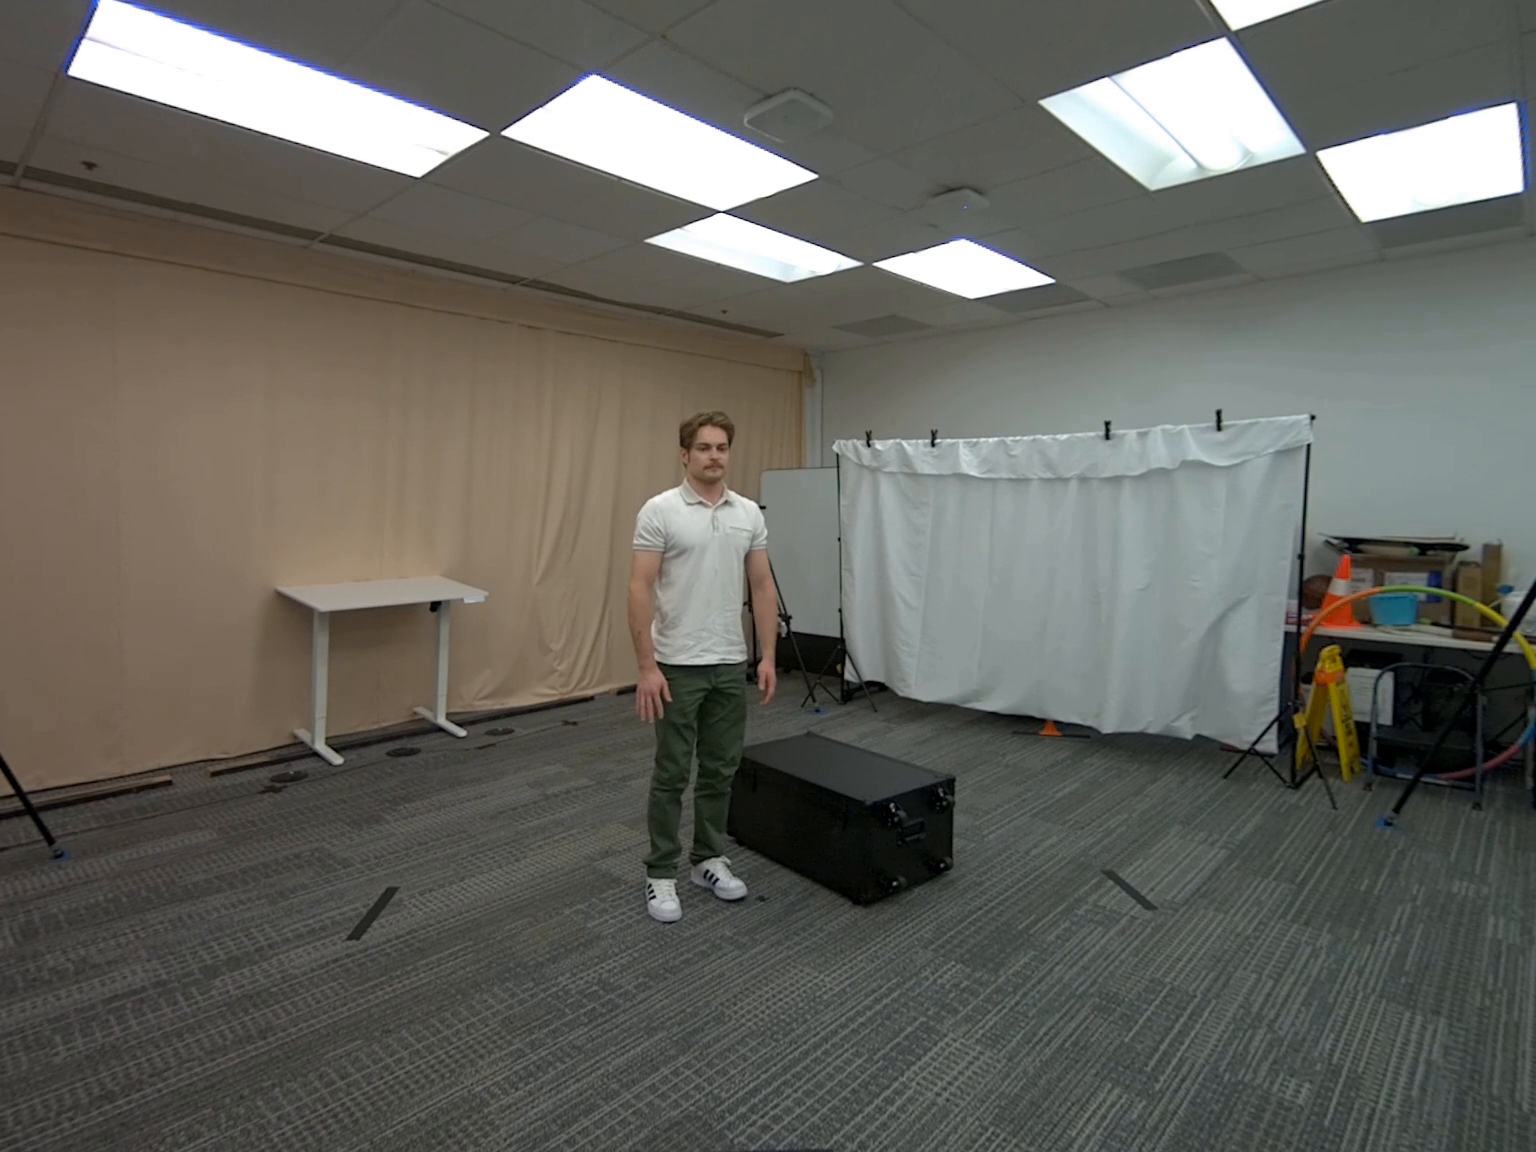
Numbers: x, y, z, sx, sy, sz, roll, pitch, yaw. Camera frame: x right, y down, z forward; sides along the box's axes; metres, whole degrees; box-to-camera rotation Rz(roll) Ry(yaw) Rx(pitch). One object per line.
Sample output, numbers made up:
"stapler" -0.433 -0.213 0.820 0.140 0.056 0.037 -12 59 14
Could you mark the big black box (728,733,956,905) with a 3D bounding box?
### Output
"big black box" 0.285 0.919 3.300 0.507 0.384 0.897 -1 4 -39
